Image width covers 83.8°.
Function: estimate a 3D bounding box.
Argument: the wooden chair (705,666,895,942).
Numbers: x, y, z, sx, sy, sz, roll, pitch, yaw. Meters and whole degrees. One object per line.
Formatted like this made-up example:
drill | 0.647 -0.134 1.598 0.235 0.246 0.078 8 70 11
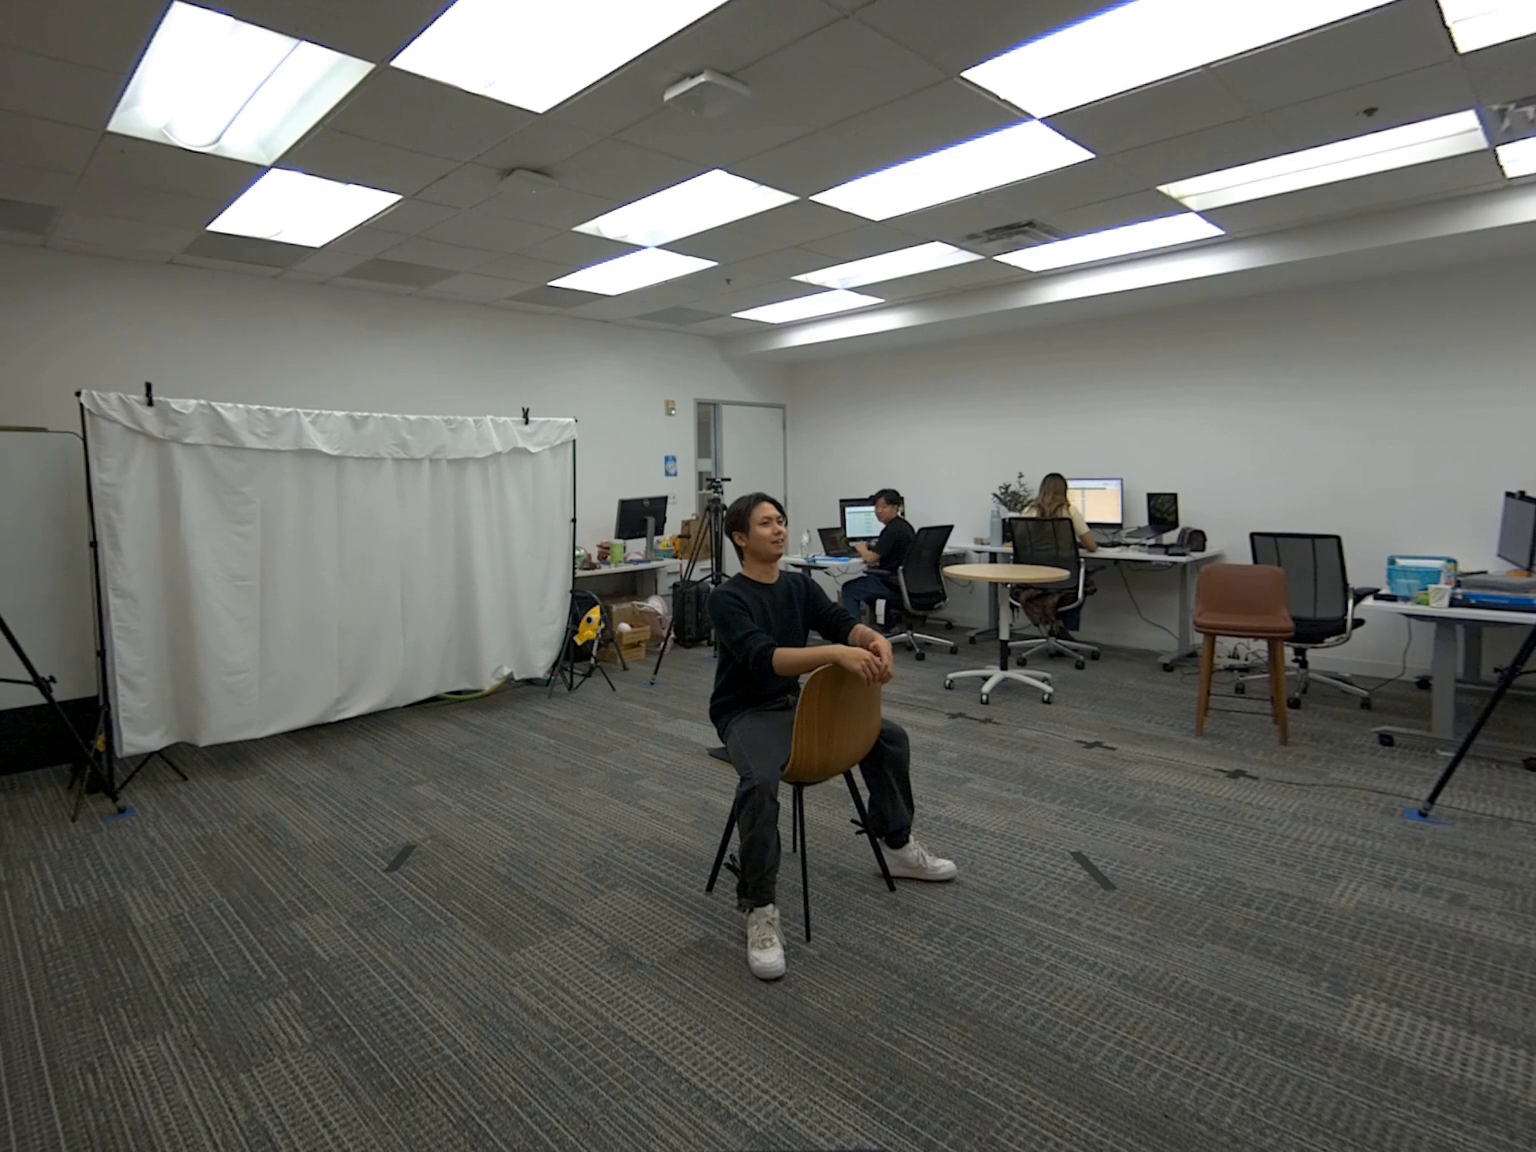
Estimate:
wooden chair | 0.091 0.639 2.863 0.465 0.872 0.540 -5 11 -44
